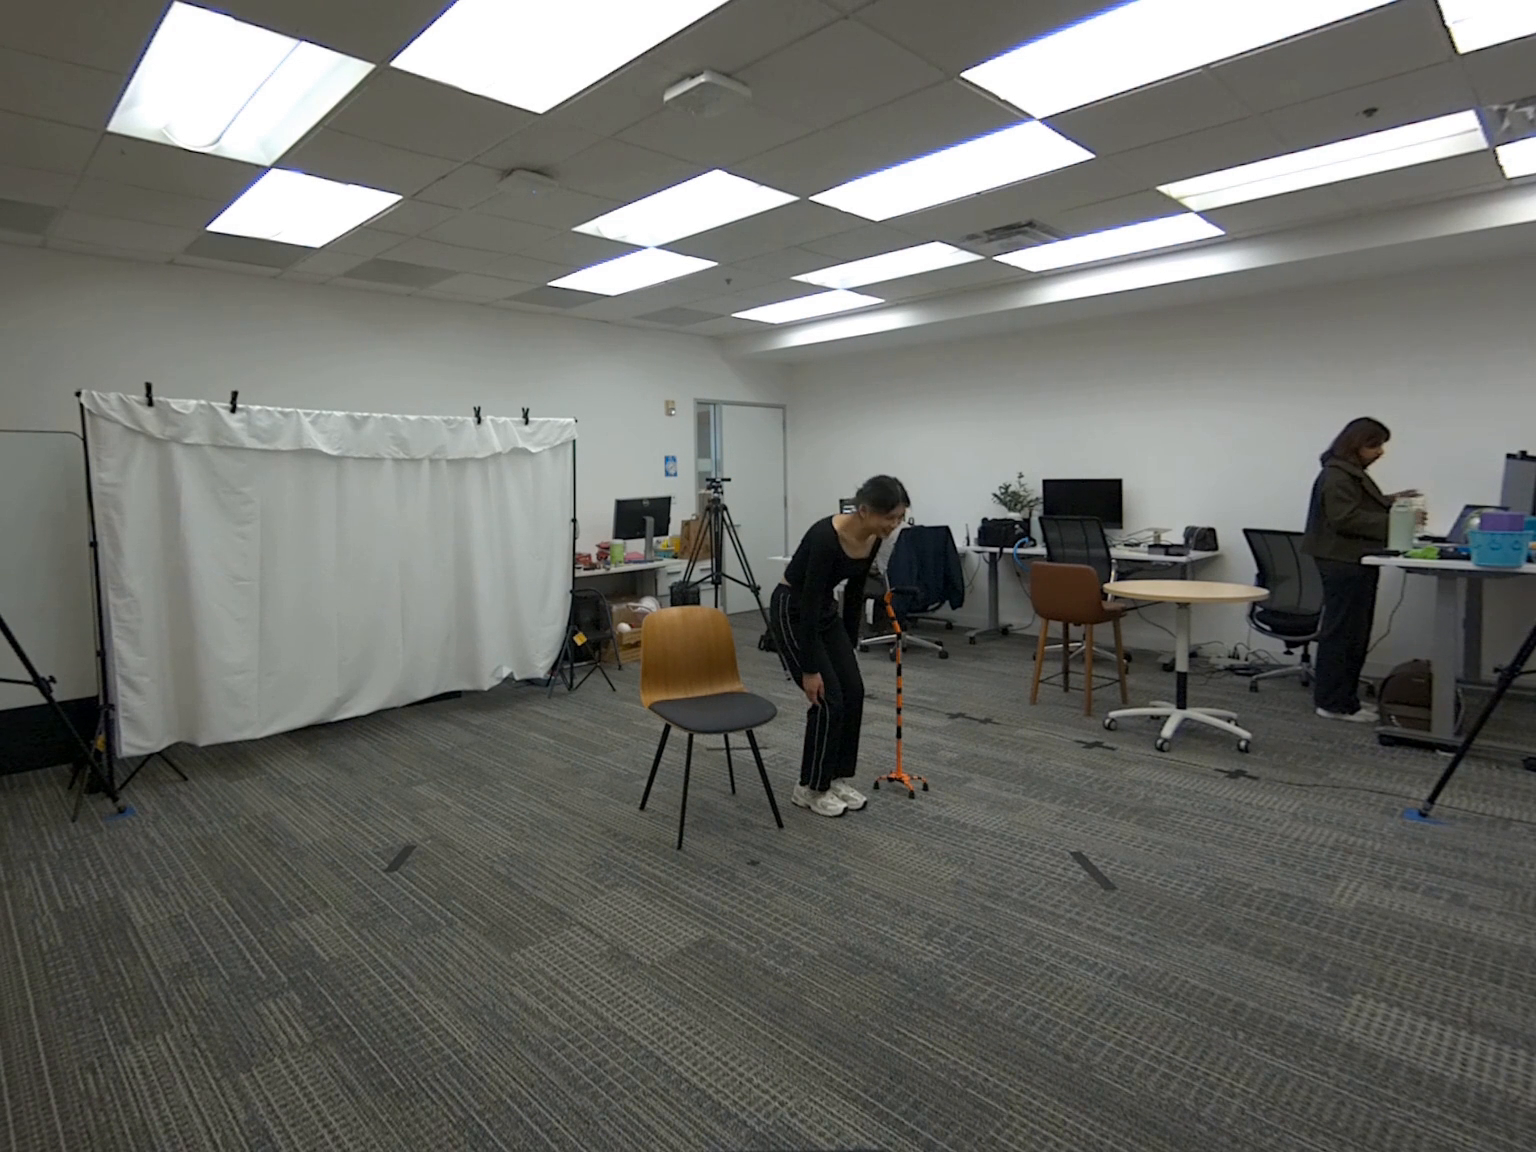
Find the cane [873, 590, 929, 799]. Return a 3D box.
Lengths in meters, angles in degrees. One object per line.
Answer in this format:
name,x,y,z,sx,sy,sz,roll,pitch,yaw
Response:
cane,0.585,0.501,3.776,0.213,0.904,0.148,3,6,41
